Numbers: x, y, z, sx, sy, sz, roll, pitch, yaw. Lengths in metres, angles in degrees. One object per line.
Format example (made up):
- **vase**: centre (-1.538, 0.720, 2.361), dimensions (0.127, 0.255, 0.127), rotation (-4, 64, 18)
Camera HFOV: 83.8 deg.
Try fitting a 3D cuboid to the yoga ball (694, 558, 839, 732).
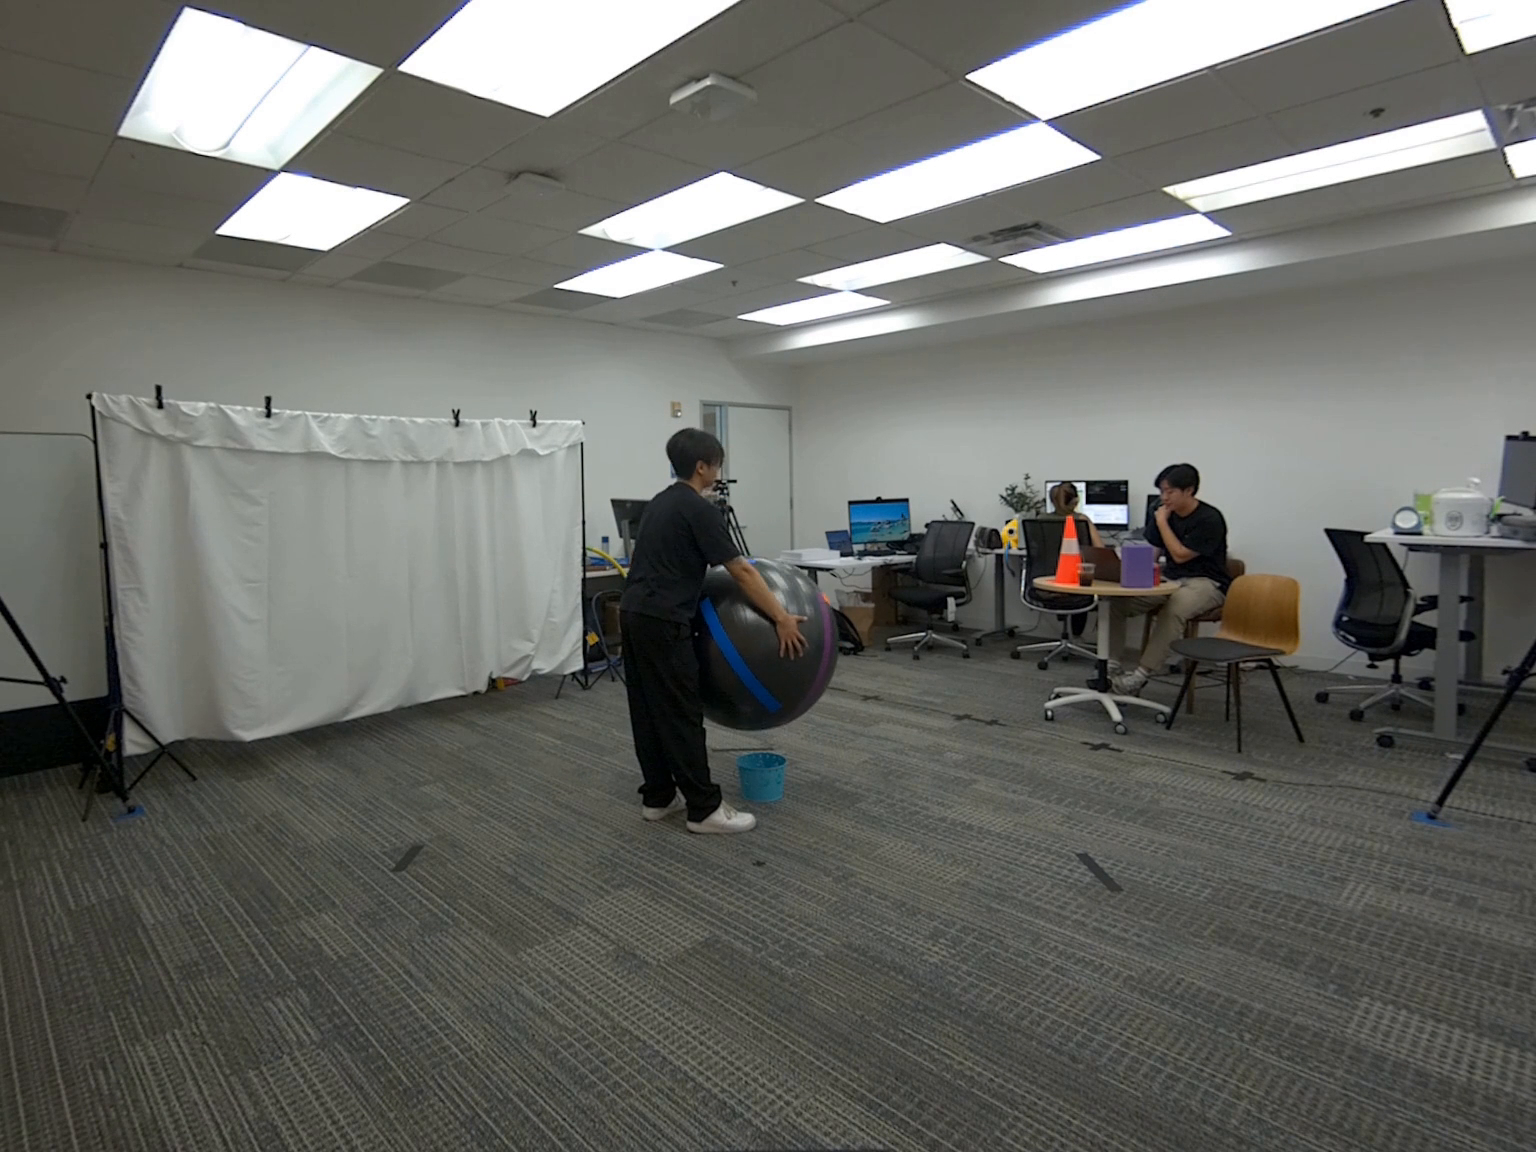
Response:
- **yoga ball**: centre (-0.061, 0.293, 3.758), dimensions (0.757, 0.755, 0.762), rotation (-1, 5, -2)
